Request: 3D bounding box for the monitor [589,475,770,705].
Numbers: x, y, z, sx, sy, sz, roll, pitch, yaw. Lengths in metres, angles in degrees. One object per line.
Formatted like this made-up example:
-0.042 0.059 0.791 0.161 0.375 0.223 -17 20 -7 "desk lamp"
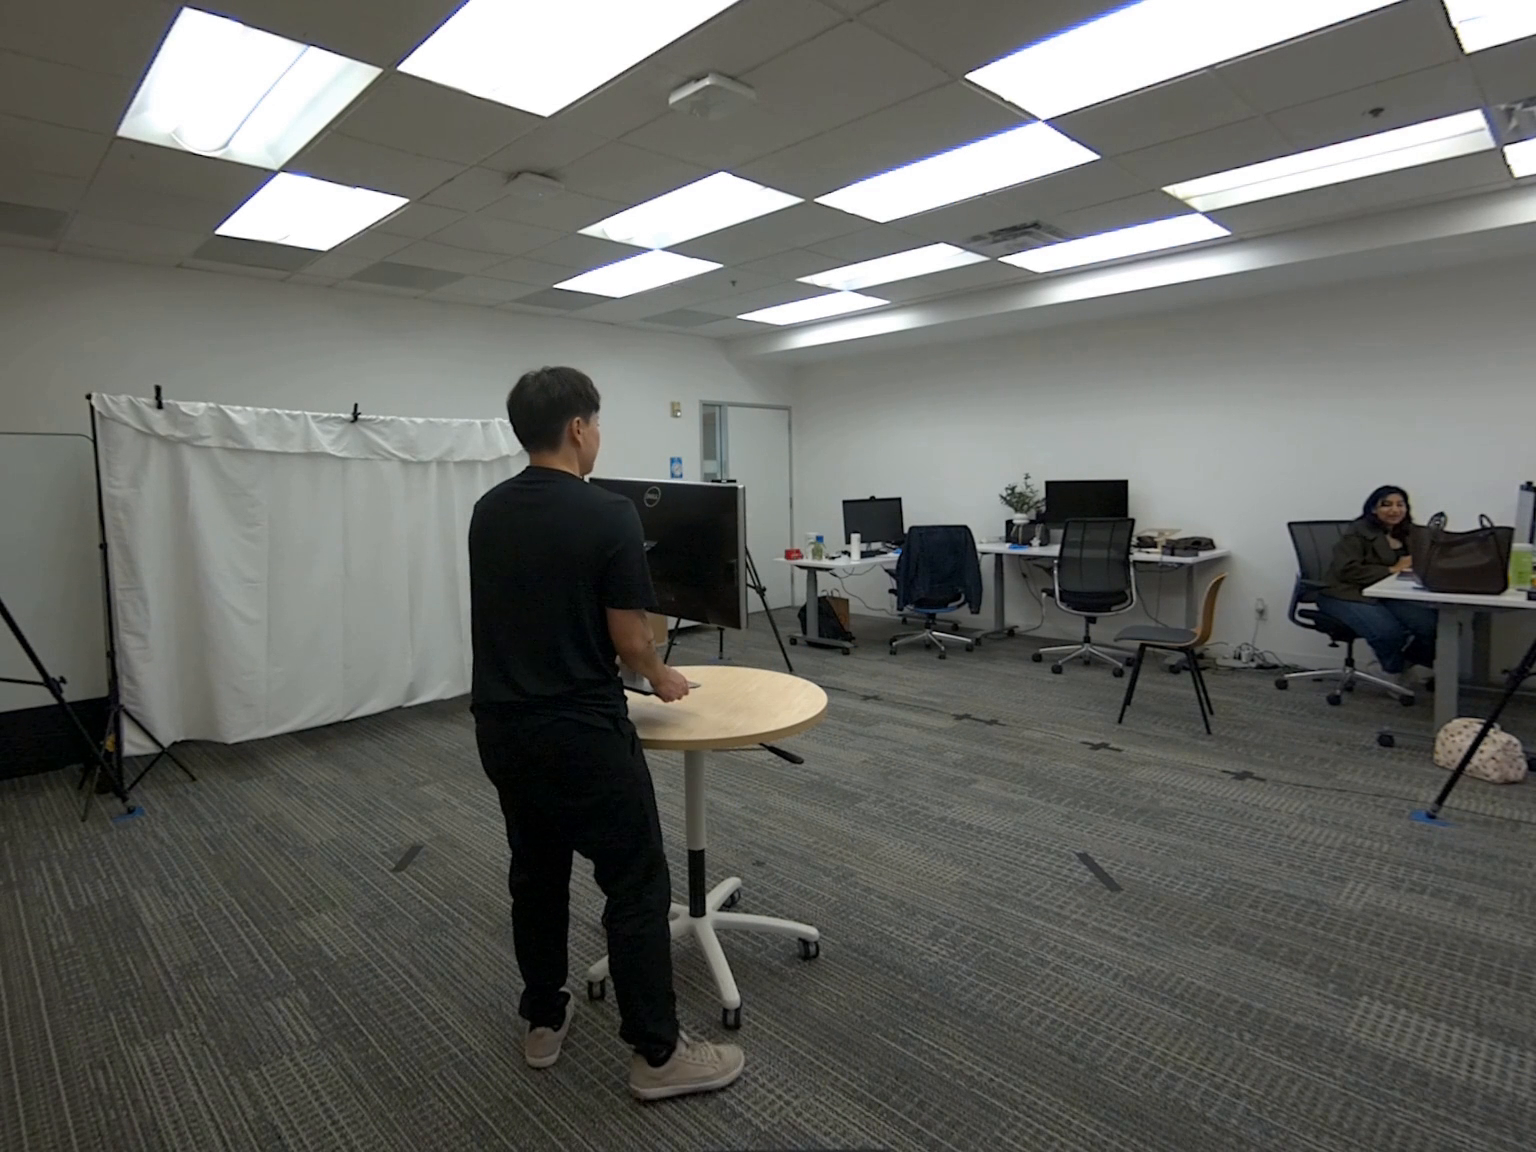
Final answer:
-0.296 0.013 2.255 0.556 0.522 0.181 7 0 38 "monitor"
